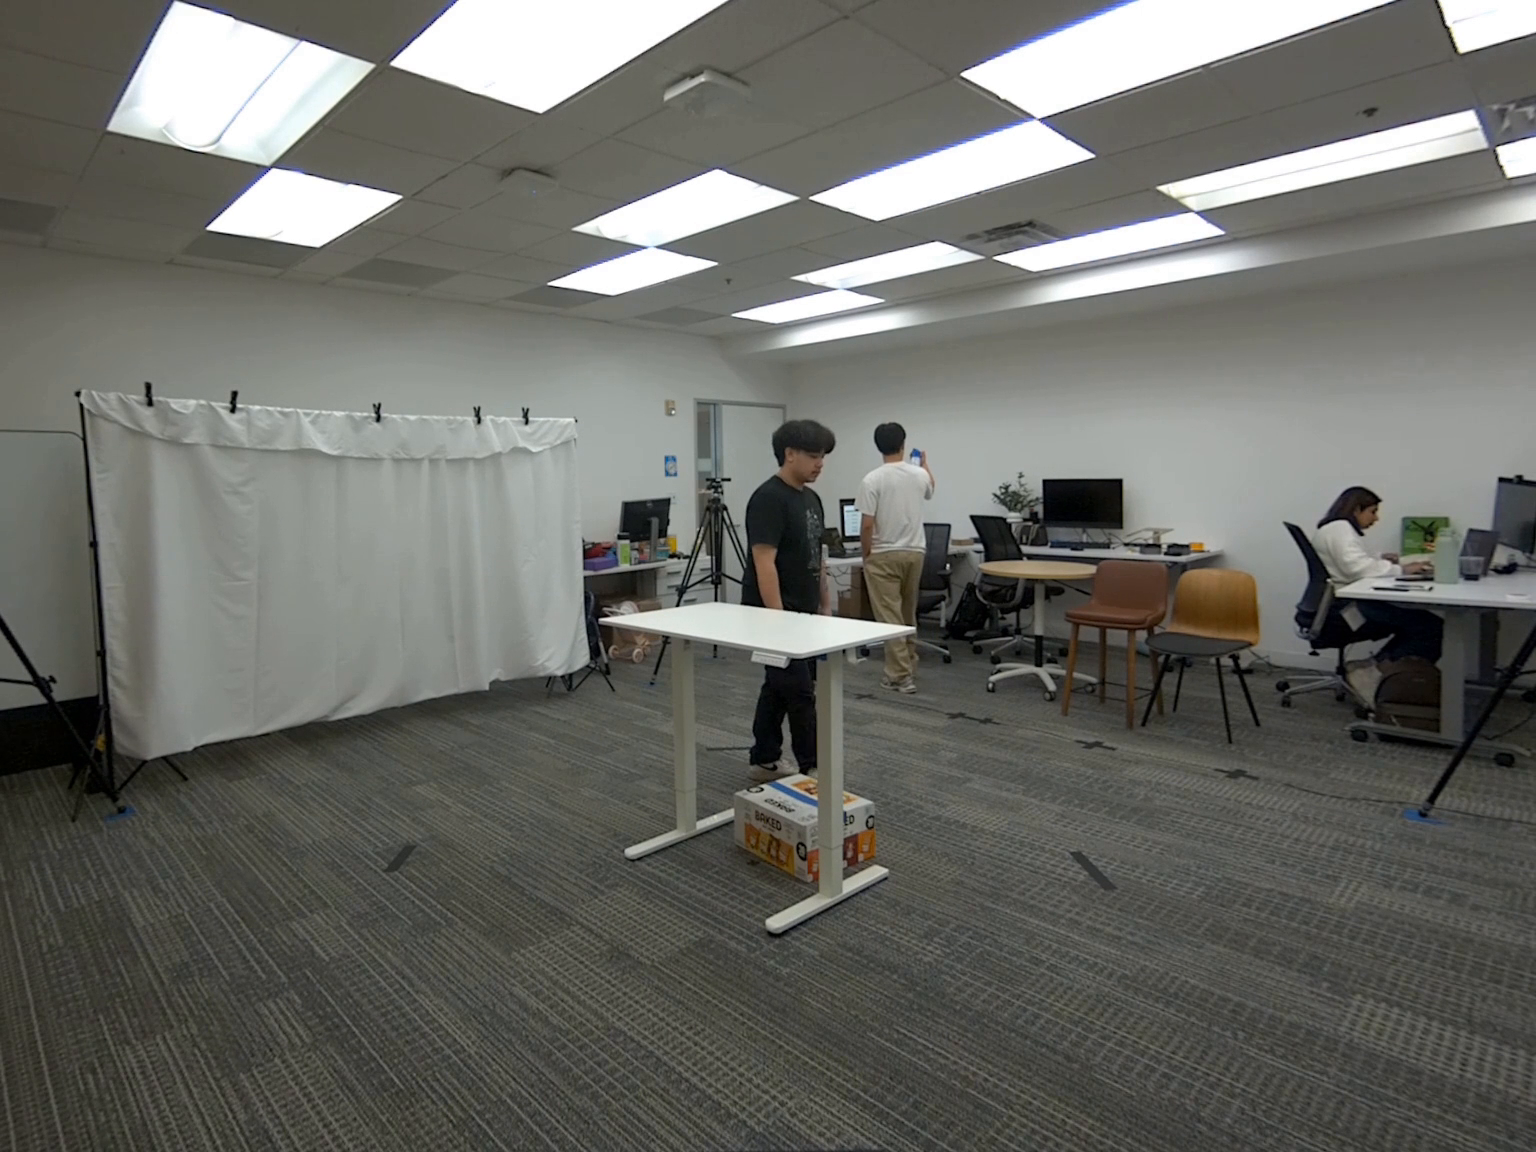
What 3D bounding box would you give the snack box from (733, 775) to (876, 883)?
[{"bbox_3d":[0.132,0.931,3.191,0.331,0.205,0.417,-5,7,-38],"label":"snack box"}]
